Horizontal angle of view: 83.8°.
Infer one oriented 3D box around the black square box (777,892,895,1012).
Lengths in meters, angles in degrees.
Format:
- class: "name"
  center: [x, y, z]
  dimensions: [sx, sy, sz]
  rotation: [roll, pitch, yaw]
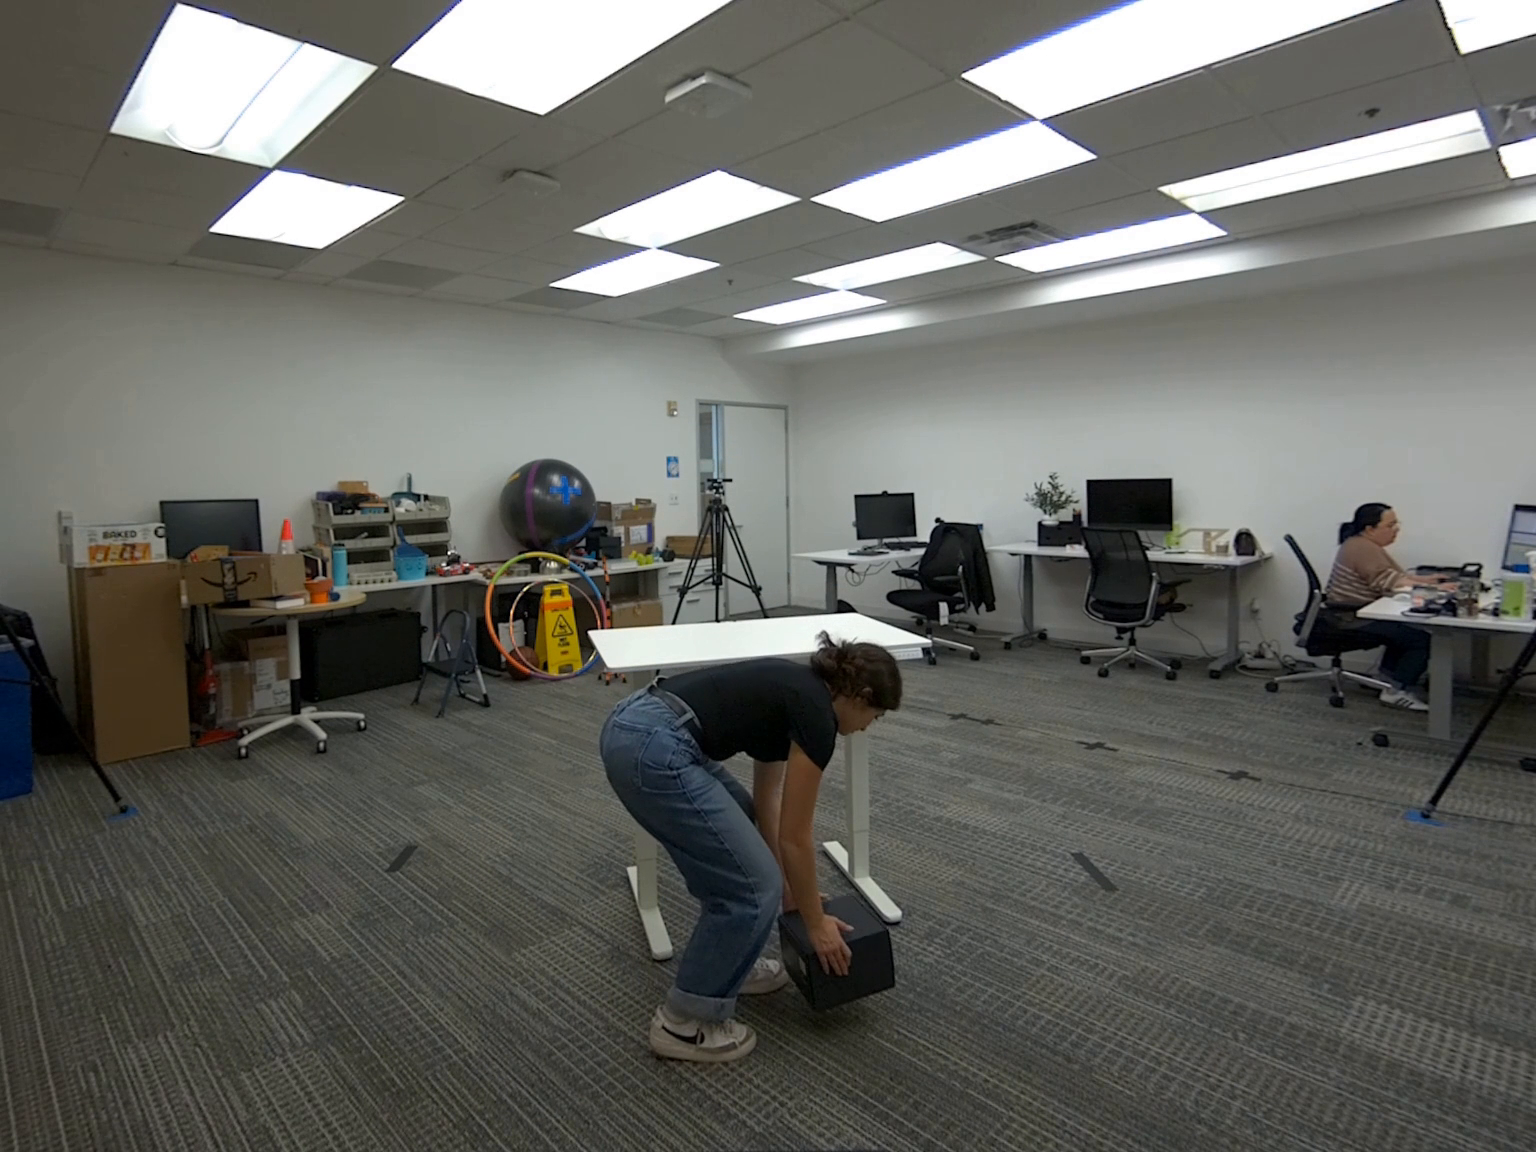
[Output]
- class: "black square box"
  center: [0.181, 0.988, 2.235]
  dimensions: [0.224, 0.155, 0.221]
  rotation: [-10, 7, -19]
